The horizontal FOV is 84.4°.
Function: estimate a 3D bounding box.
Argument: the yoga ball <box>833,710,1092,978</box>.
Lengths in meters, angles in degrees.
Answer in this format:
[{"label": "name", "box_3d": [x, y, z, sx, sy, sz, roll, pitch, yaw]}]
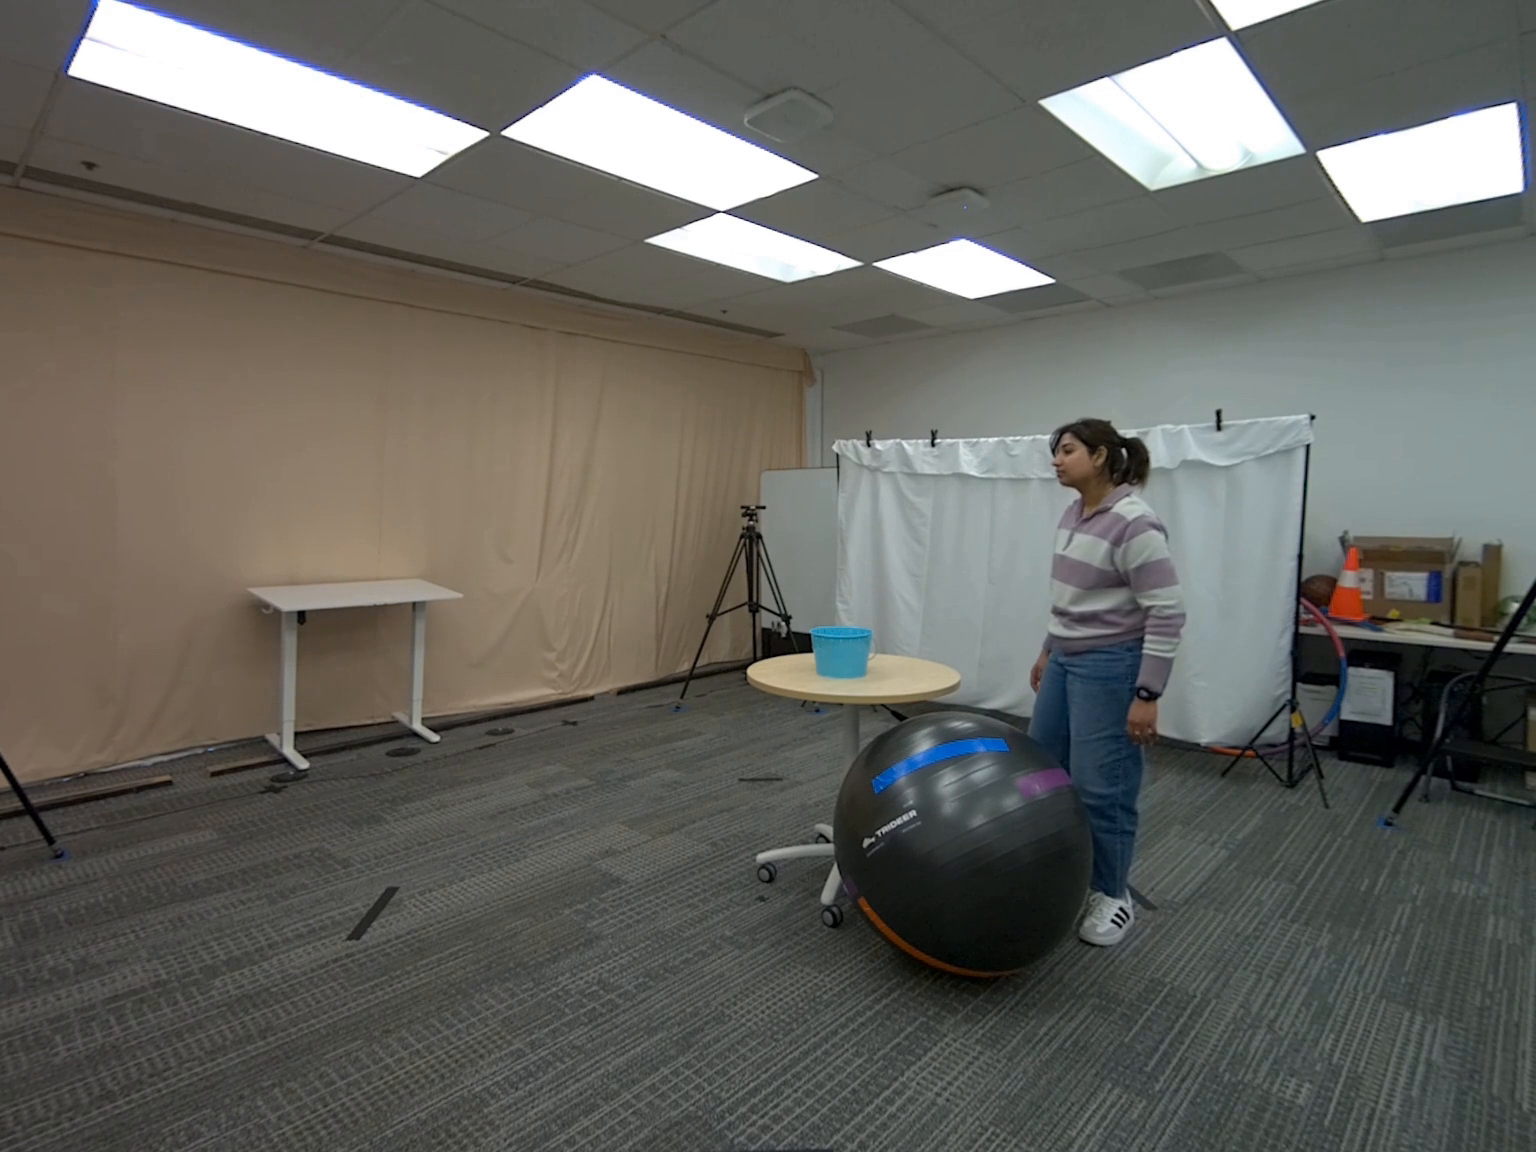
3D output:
[{"label": "yoga ball", "box_3d": [0.588, 0.810, 2.565, 0.757, 0.756, 0.760, 0, 4, -2]}]
